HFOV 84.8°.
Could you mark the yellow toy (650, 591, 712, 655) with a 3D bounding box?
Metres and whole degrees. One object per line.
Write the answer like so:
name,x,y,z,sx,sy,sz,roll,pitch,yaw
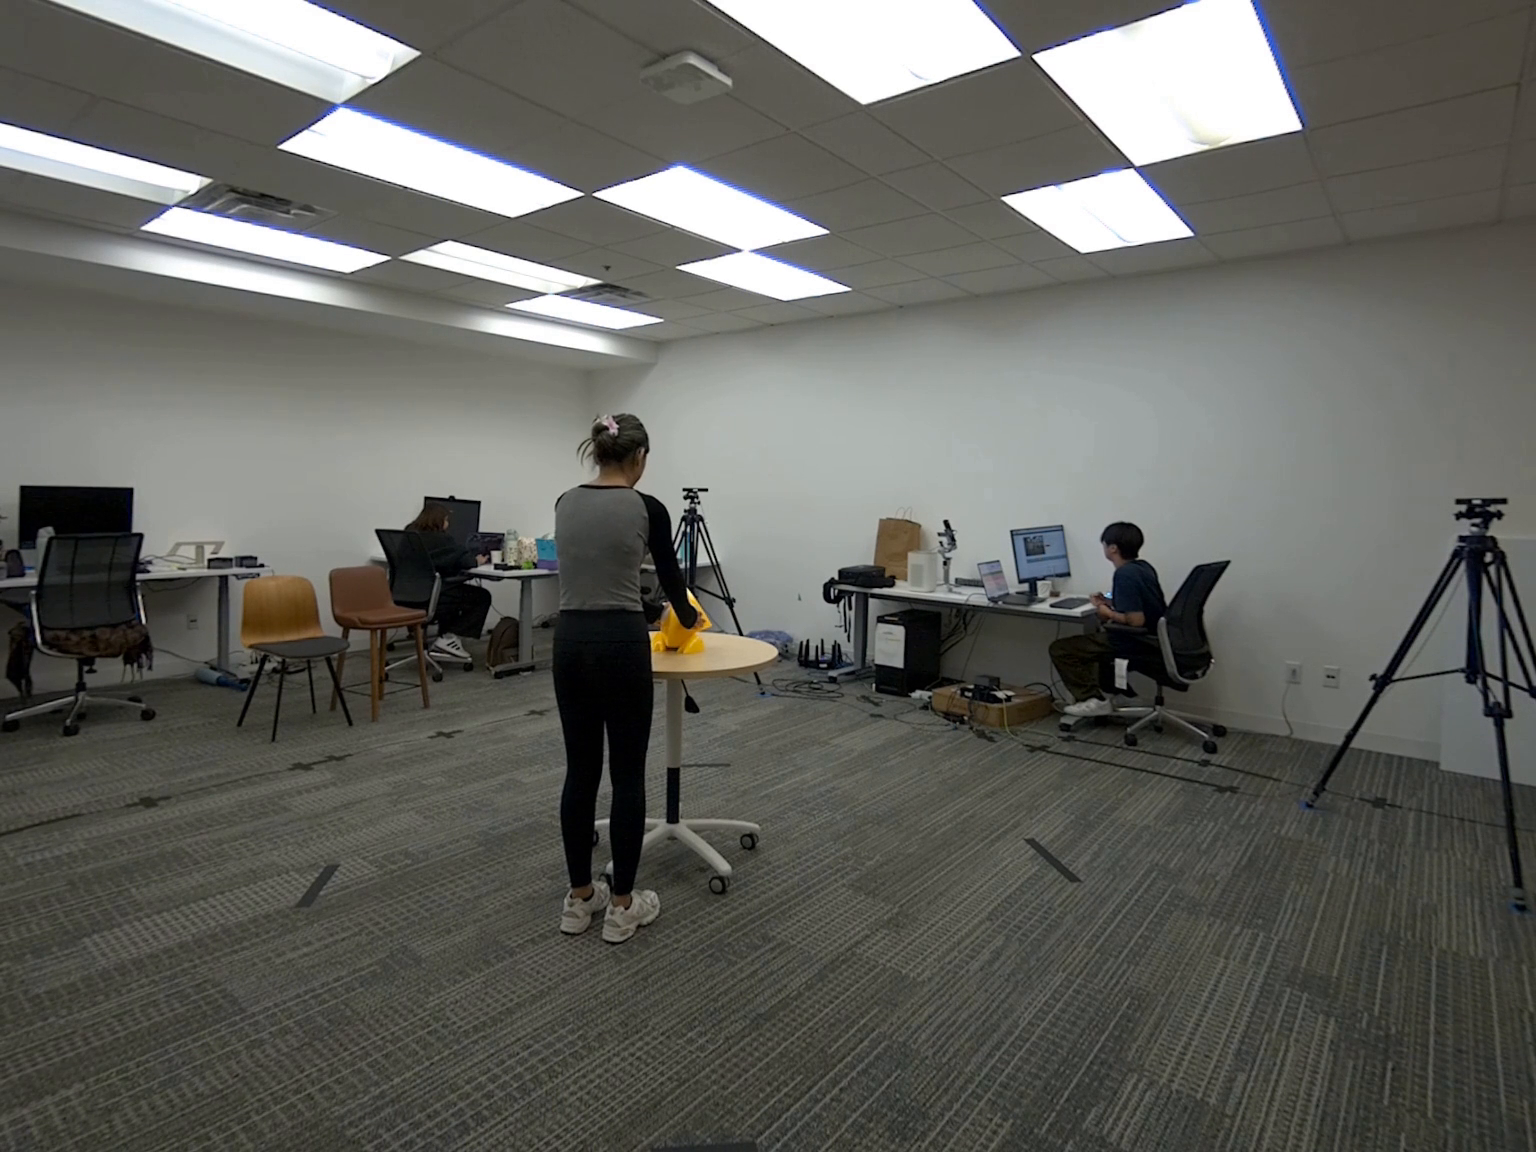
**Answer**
yellow toy,-0.339,0.154,3.169,0.209,0.230,0.190,1,4,17
